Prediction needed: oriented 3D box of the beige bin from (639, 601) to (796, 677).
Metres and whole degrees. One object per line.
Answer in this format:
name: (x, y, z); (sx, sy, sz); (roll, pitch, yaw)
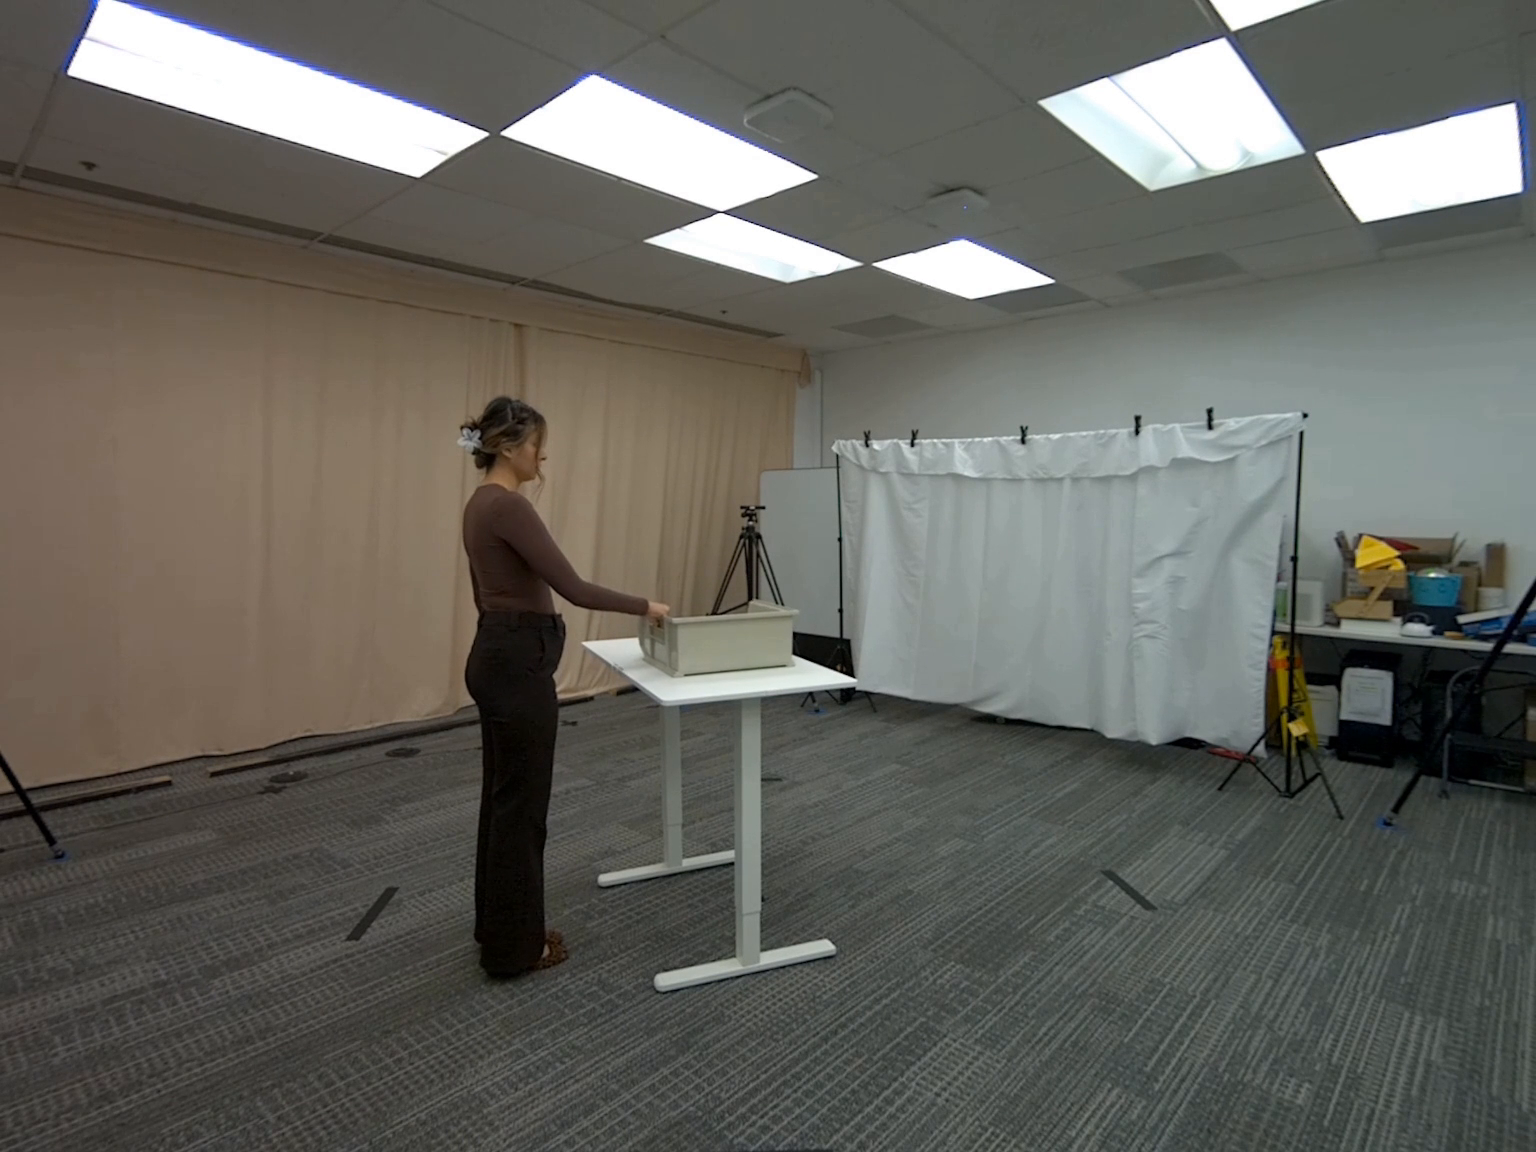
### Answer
beige bin: (-0.176, 0.194, 2.746); (0.413, 0.188, 0.387); (-2, 6, -24)
